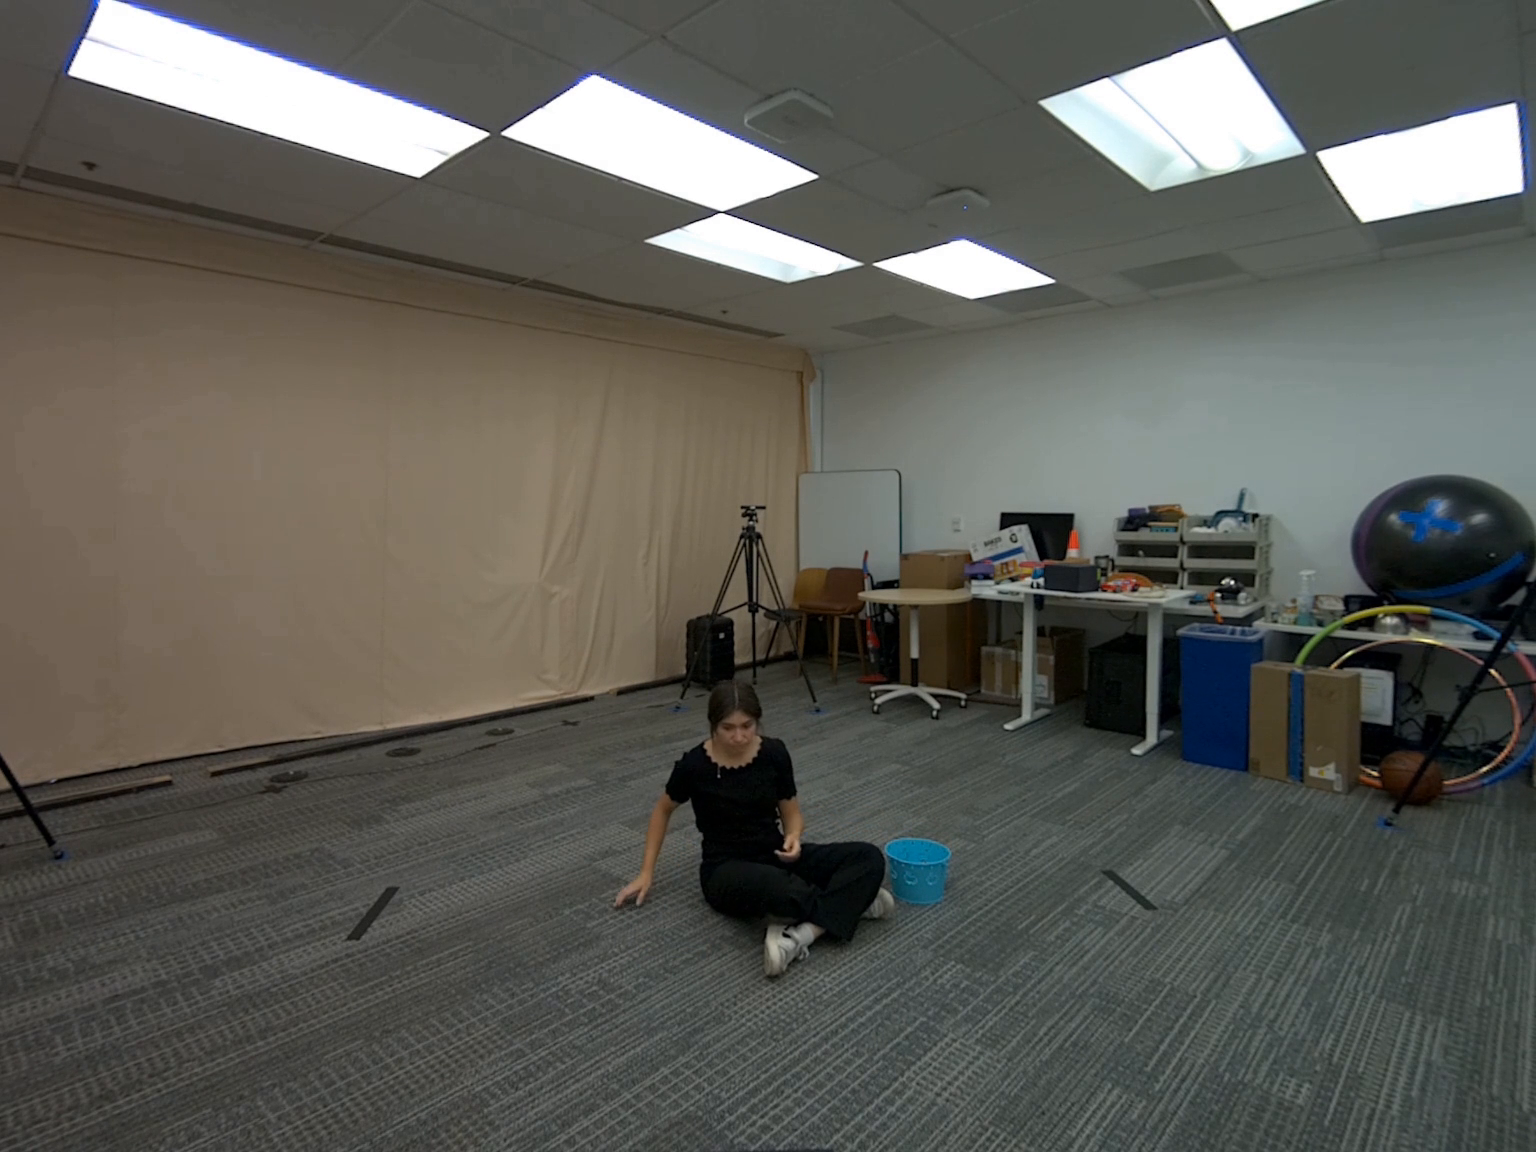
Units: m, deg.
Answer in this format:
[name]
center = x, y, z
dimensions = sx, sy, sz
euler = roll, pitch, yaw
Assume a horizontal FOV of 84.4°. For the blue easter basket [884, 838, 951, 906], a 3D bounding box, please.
[blue easter basket]
center = 0.548, 1.060, 3.017
dimensions = 0.243, 0.155, 0.244
euler = 0, 4, -2
